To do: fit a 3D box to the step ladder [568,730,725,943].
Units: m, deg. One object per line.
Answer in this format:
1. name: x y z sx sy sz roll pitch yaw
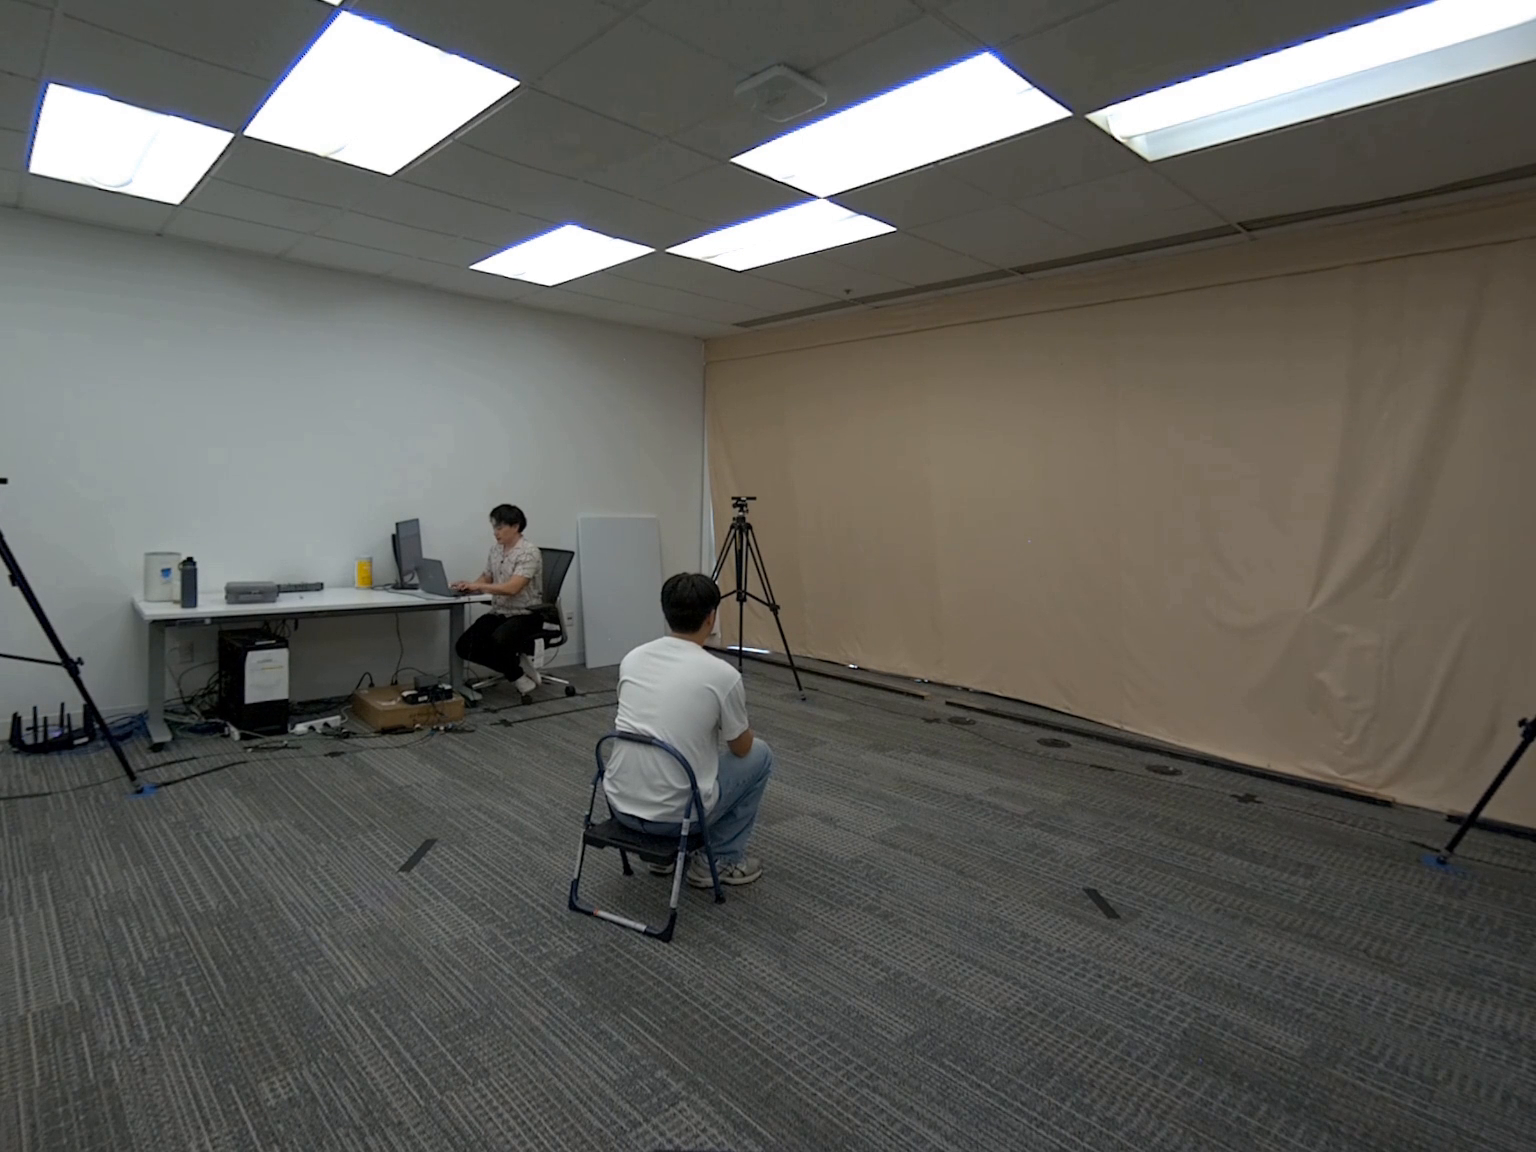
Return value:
1. step ladder: -0.418 0.825 2.850 0.440 0.604 0.343 3 4 29
